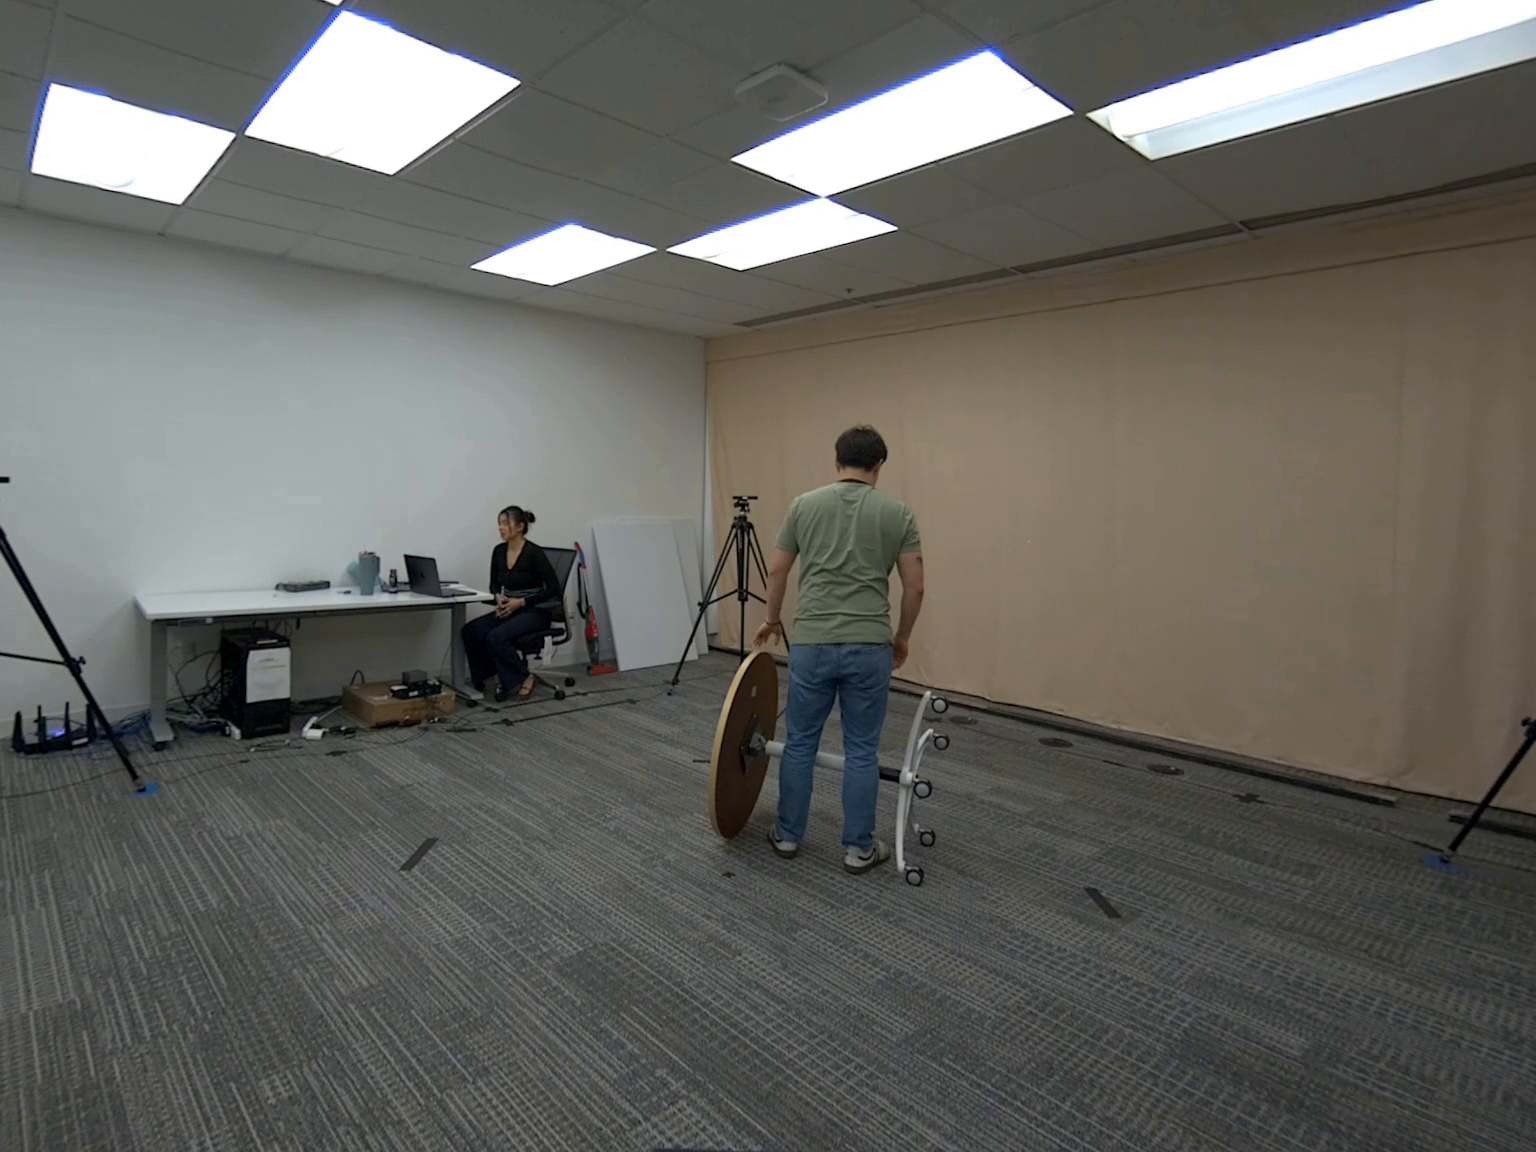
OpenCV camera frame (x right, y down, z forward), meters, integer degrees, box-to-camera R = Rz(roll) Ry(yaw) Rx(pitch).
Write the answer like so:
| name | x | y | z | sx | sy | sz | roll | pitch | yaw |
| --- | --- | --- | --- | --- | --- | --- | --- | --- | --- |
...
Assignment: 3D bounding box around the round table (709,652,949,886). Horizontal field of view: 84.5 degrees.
| name | x | y | z | sx | sy | sz | roll | pitch | yaw |
| --- | --- | --- | --- | --- | --- | --- | --- | --- | --- |
| round table | 0.273 | 0.746 | 3.359 | 0.807 | 0.761 | 0.755 | 9 | 6 | 17 |
